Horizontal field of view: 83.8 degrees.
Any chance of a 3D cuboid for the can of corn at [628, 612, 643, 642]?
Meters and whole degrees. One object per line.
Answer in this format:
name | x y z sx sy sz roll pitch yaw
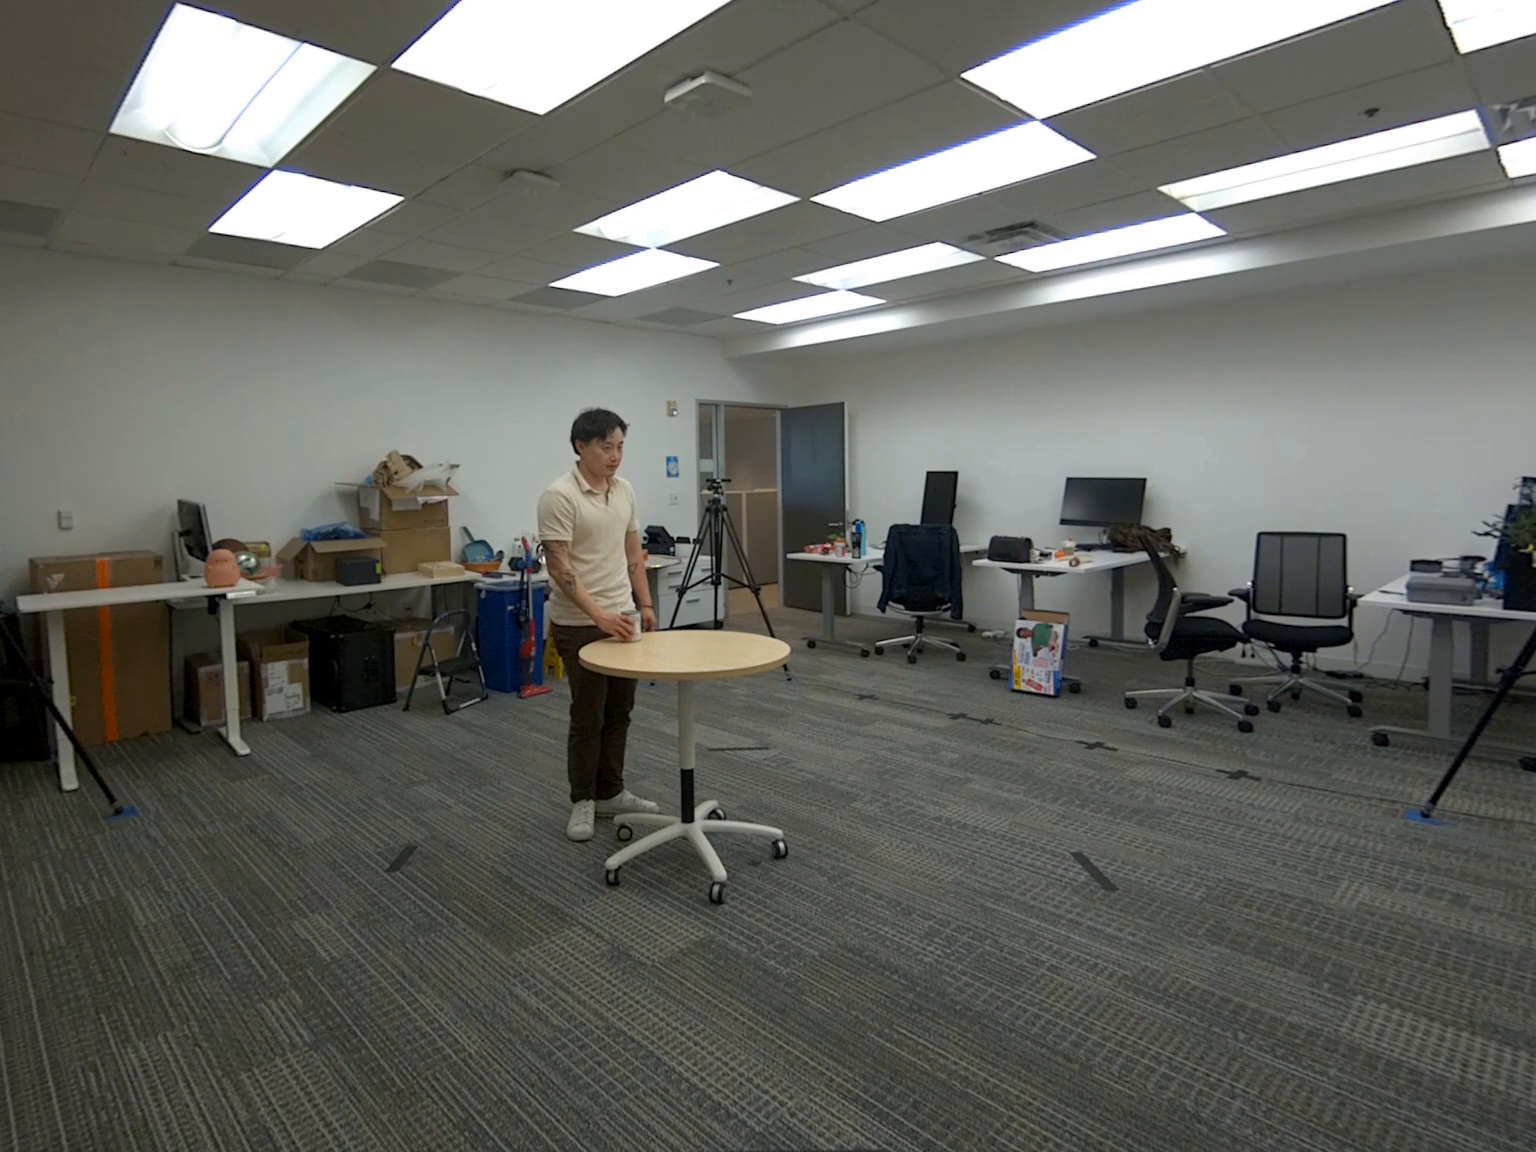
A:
can of corn | -0.546 0.198 3.274 0.074 0.111 0.074 -6 2 -1
